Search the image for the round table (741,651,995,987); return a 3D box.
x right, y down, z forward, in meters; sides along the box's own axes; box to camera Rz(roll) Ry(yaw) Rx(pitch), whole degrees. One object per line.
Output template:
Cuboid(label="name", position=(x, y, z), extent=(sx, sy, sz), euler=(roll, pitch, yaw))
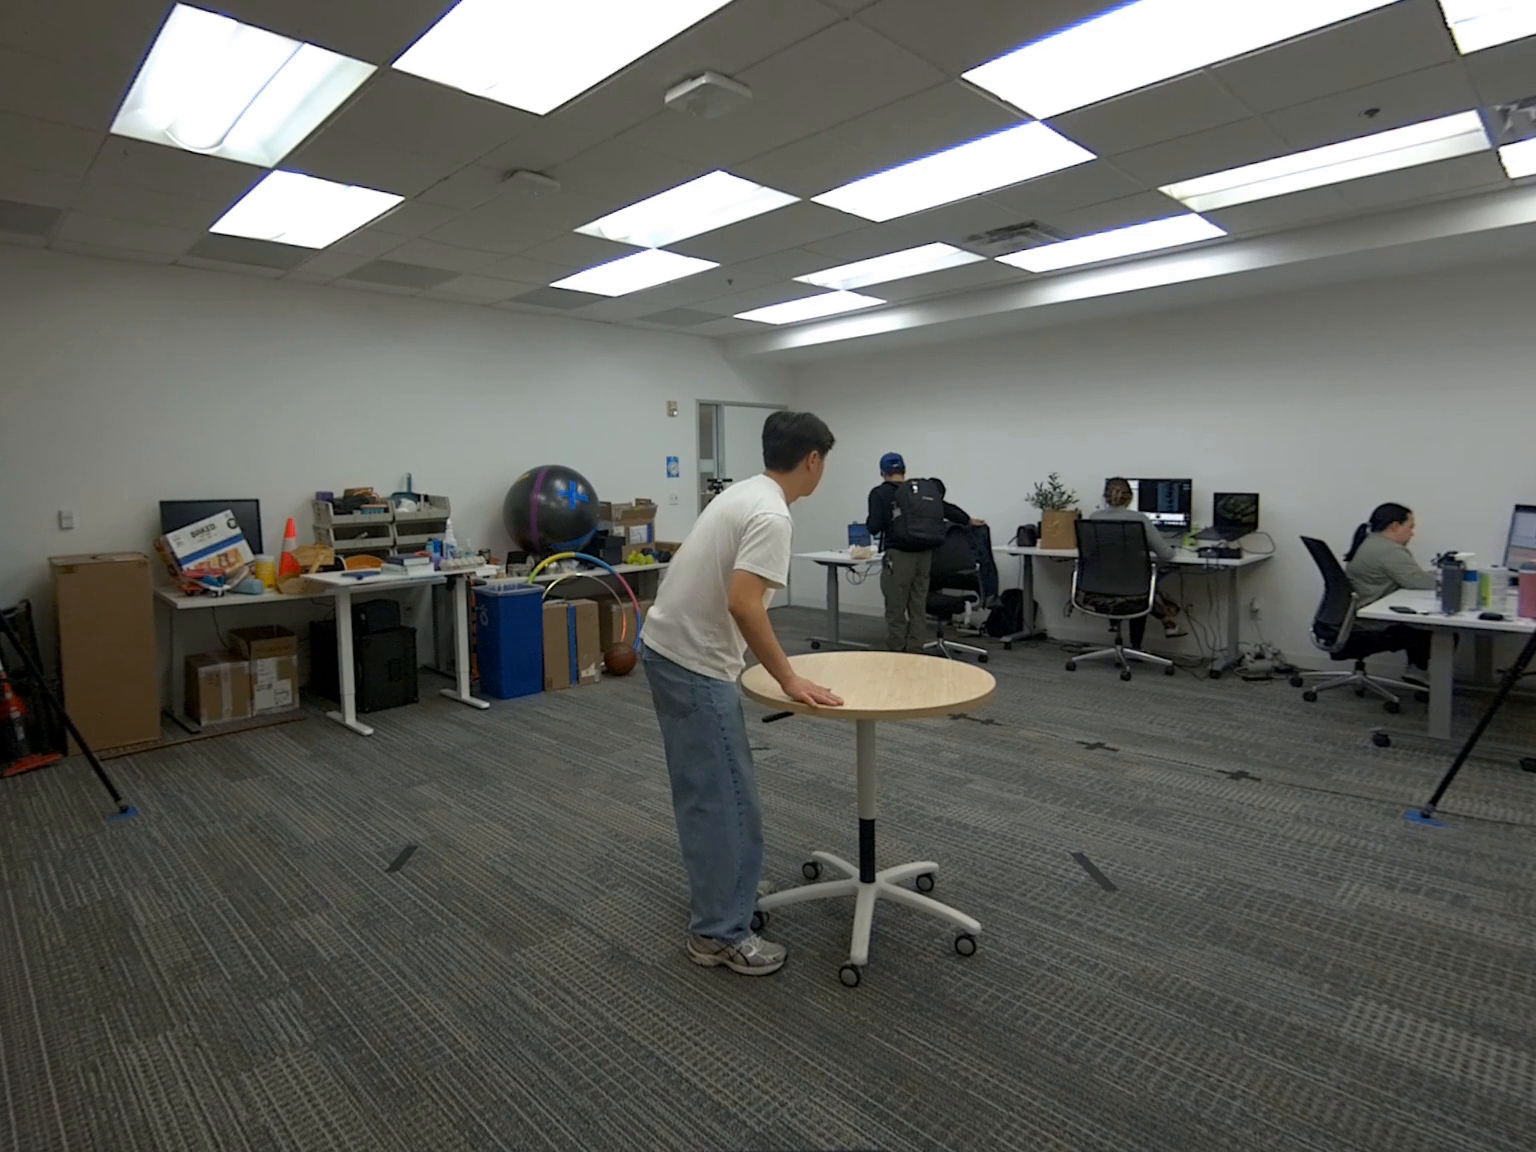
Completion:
Cuboid(label="round table", position=(0.308, 0.699, 2.659), extent=(0.763, 0.791, 0.768), euler=(-1, 5, -2))
